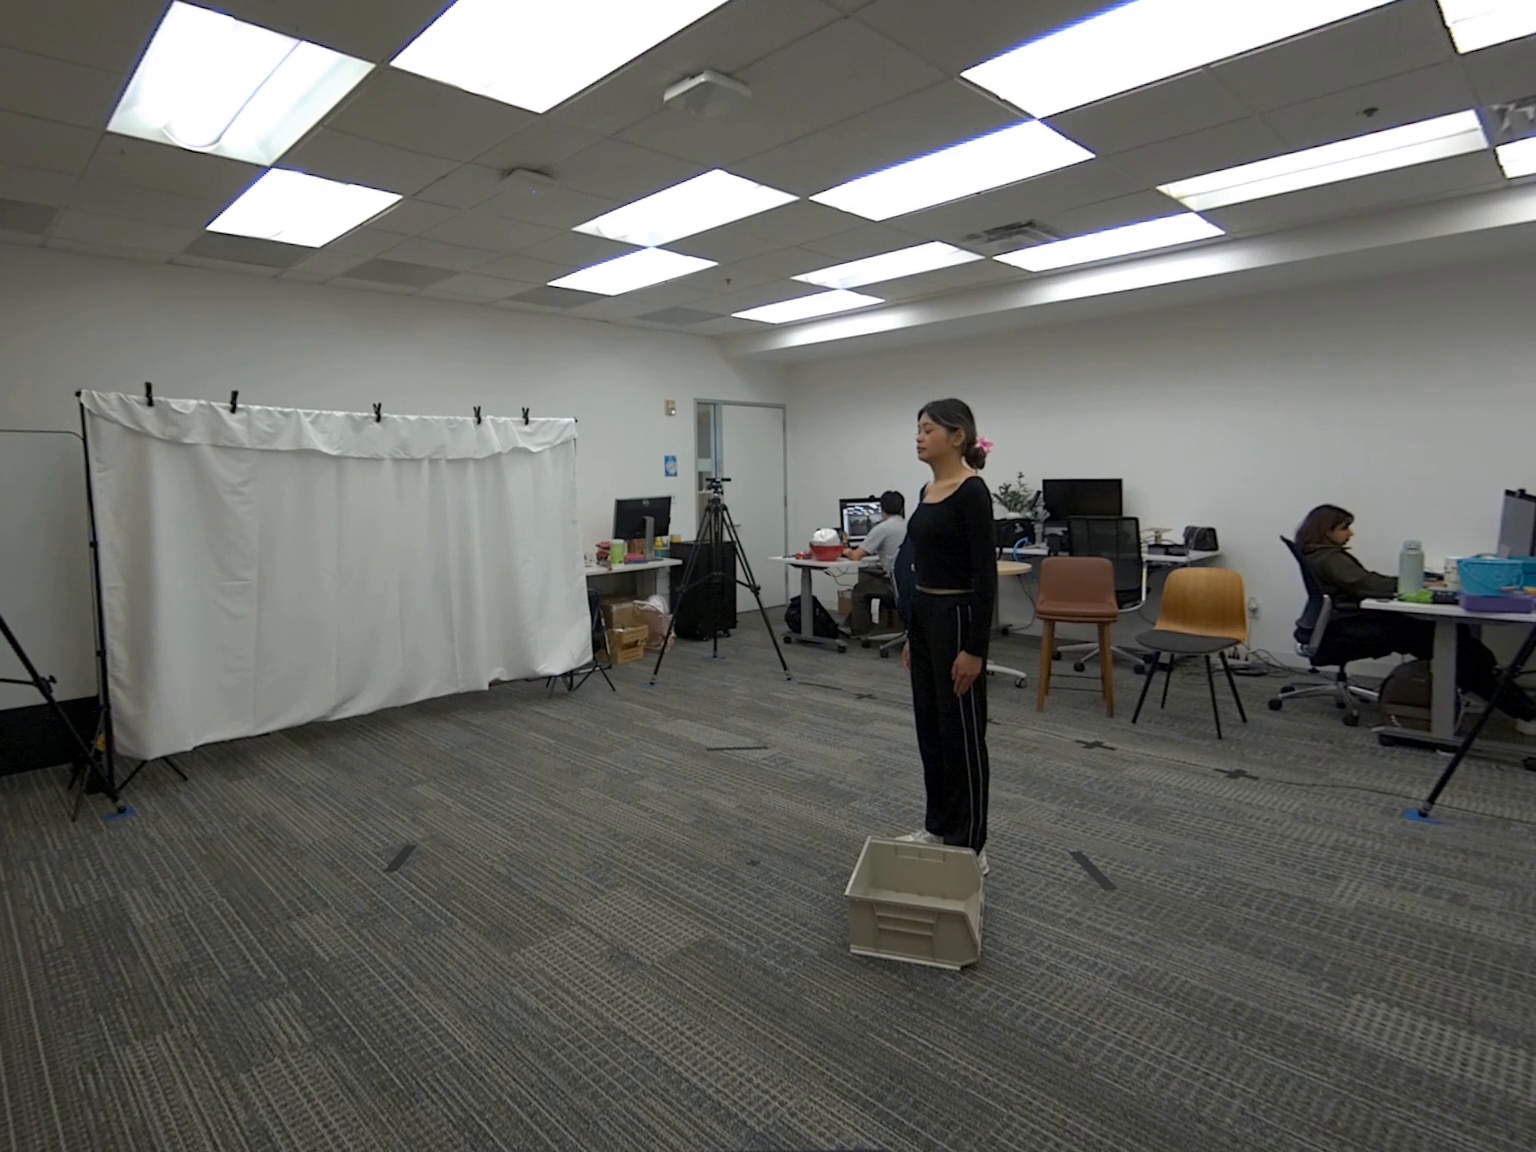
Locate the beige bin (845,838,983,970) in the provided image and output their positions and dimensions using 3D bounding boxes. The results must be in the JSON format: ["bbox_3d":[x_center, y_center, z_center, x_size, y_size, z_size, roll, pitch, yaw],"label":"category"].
[{"bbox_3d":[0.473,1.001,2.635,0.384,0.188,0.417,0,6,18],"label":"beige bin"}]
